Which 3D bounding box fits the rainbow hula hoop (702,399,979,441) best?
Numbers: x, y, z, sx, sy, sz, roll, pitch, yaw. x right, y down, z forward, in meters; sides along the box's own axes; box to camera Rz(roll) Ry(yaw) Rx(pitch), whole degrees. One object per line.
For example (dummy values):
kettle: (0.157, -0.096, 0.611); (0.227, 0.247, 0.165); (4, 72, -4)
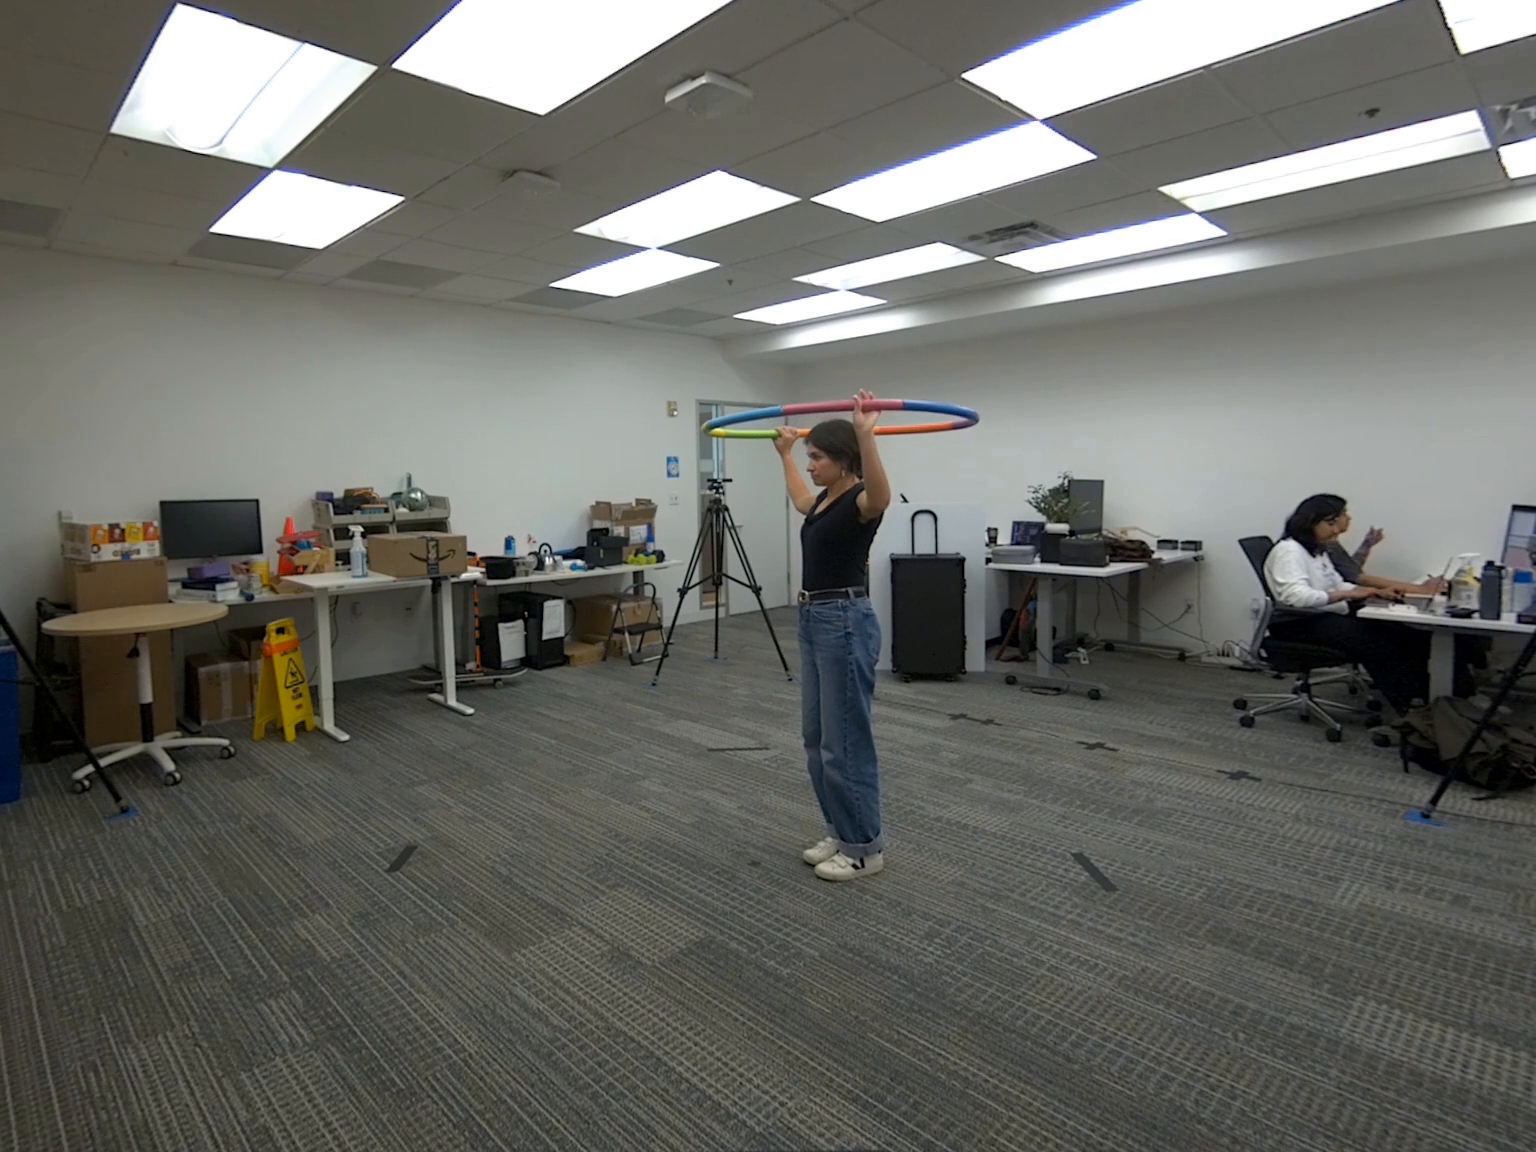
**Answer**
rainbow hula hoop: (0.252, -0.547, 3.051); (0.978, 0.035, 0.982); (-2, 5, -2)
